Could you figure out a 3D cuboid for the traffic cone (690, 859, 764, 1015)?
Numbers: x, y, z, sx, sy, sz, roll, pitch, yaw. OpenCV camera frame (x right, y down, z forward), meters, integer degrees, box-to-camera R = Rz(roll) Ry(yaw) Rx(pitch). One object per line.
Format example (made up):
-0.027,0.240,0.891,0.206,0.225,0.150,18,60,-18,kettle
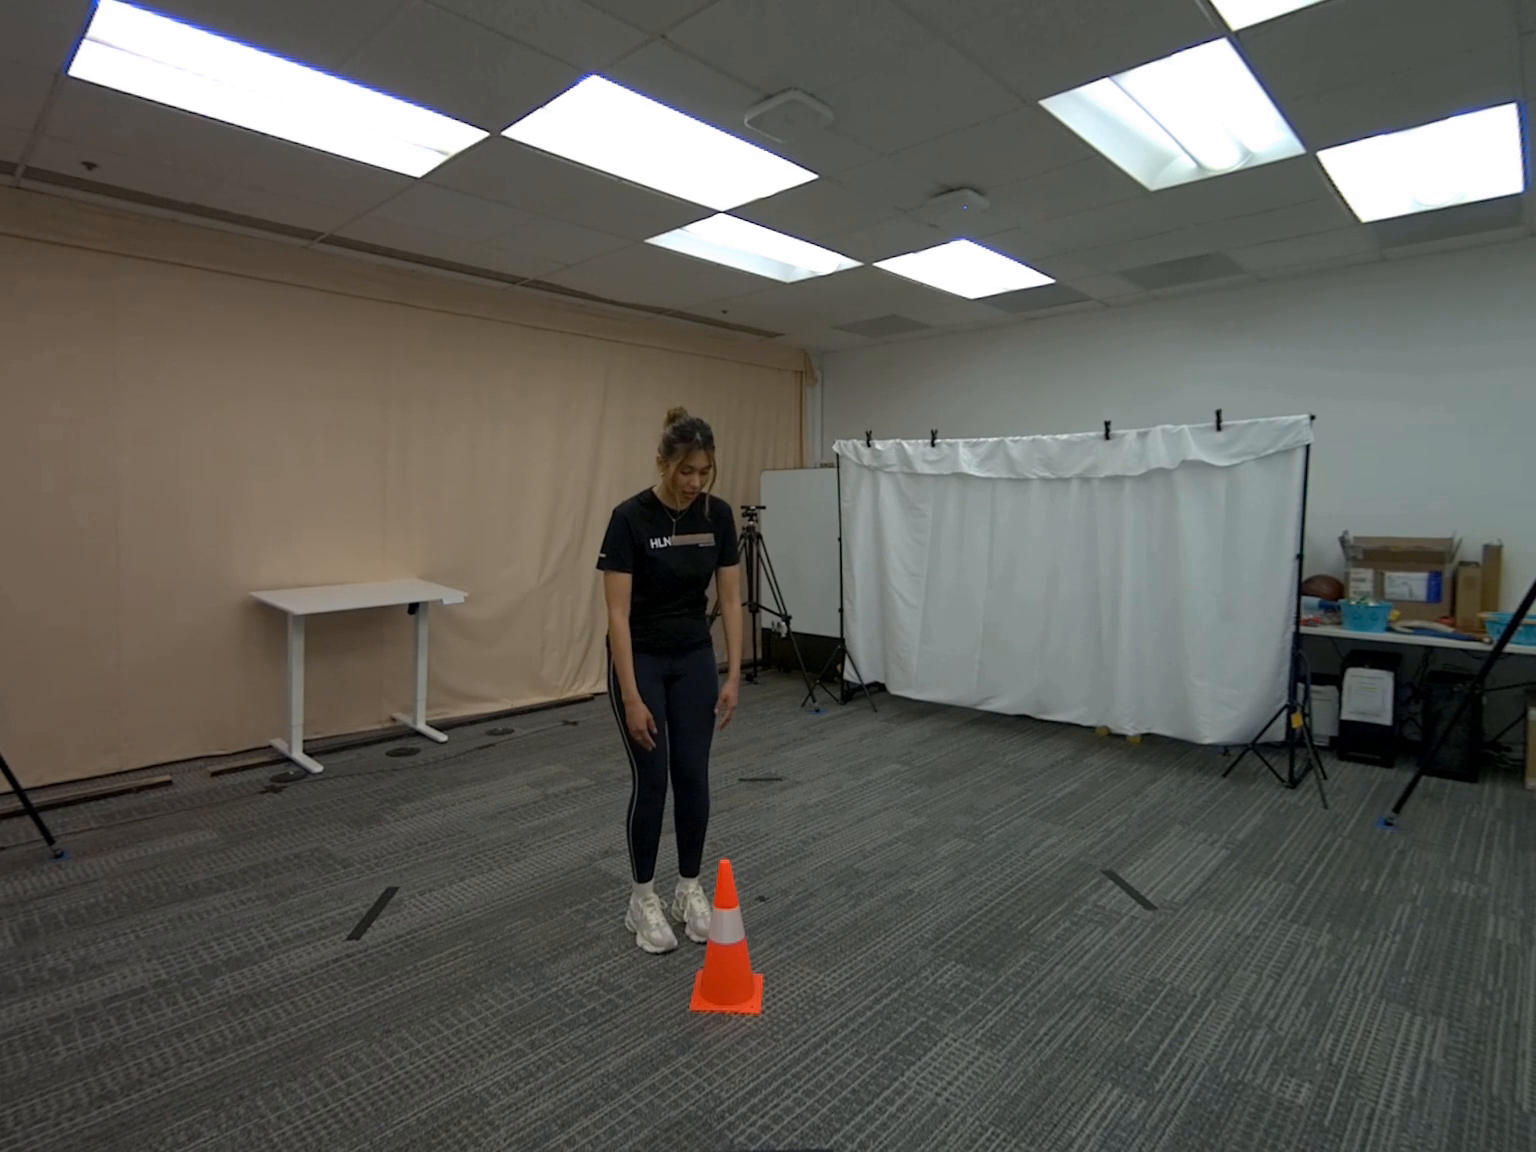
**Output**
-0.120,1.007,2.402,0.206,0.383,0.202,-1,1,5,traffic cone
